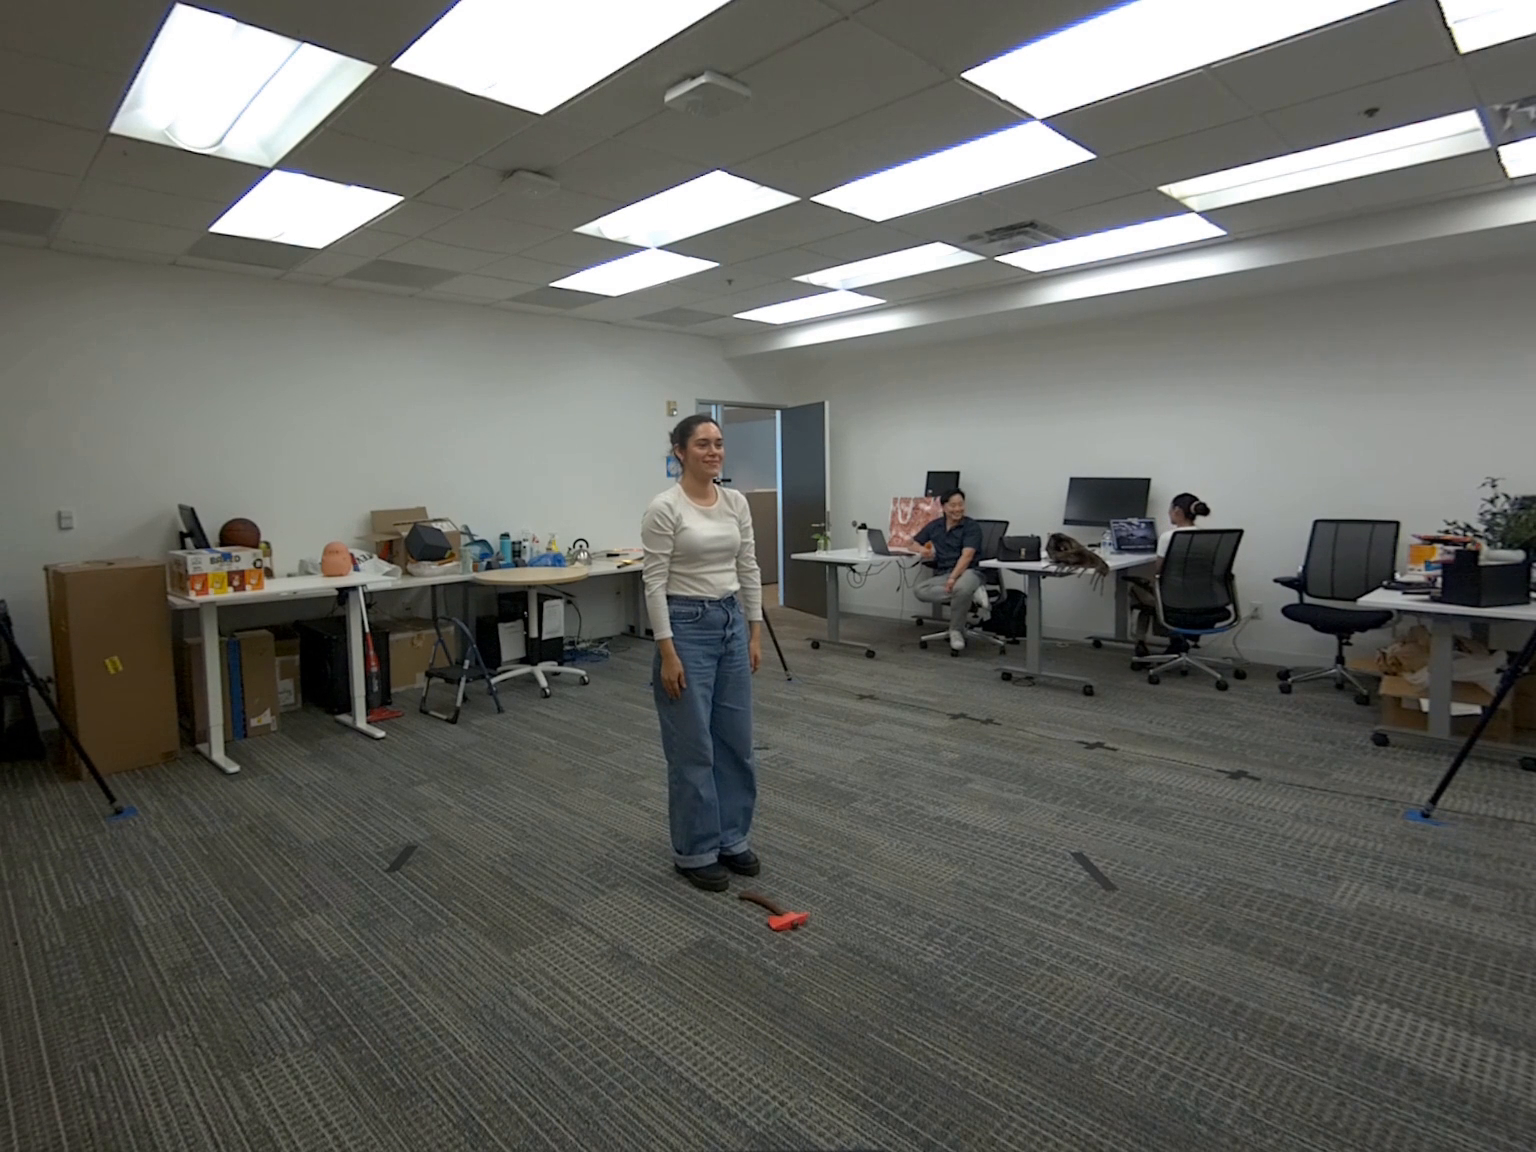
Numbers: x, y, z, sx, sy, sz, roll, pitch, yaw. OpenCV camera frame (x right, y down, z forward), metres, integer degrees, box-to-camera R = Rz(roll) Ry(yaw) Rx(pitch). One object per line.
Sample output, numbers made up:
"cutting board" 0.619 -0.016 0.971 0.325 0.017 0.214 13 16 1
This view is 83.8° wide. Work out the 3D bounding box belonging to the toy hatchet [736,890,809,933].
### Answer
"toy hatchet" -0.004 1.073 2.741 0.278 0.029 0.128 2 9 41
